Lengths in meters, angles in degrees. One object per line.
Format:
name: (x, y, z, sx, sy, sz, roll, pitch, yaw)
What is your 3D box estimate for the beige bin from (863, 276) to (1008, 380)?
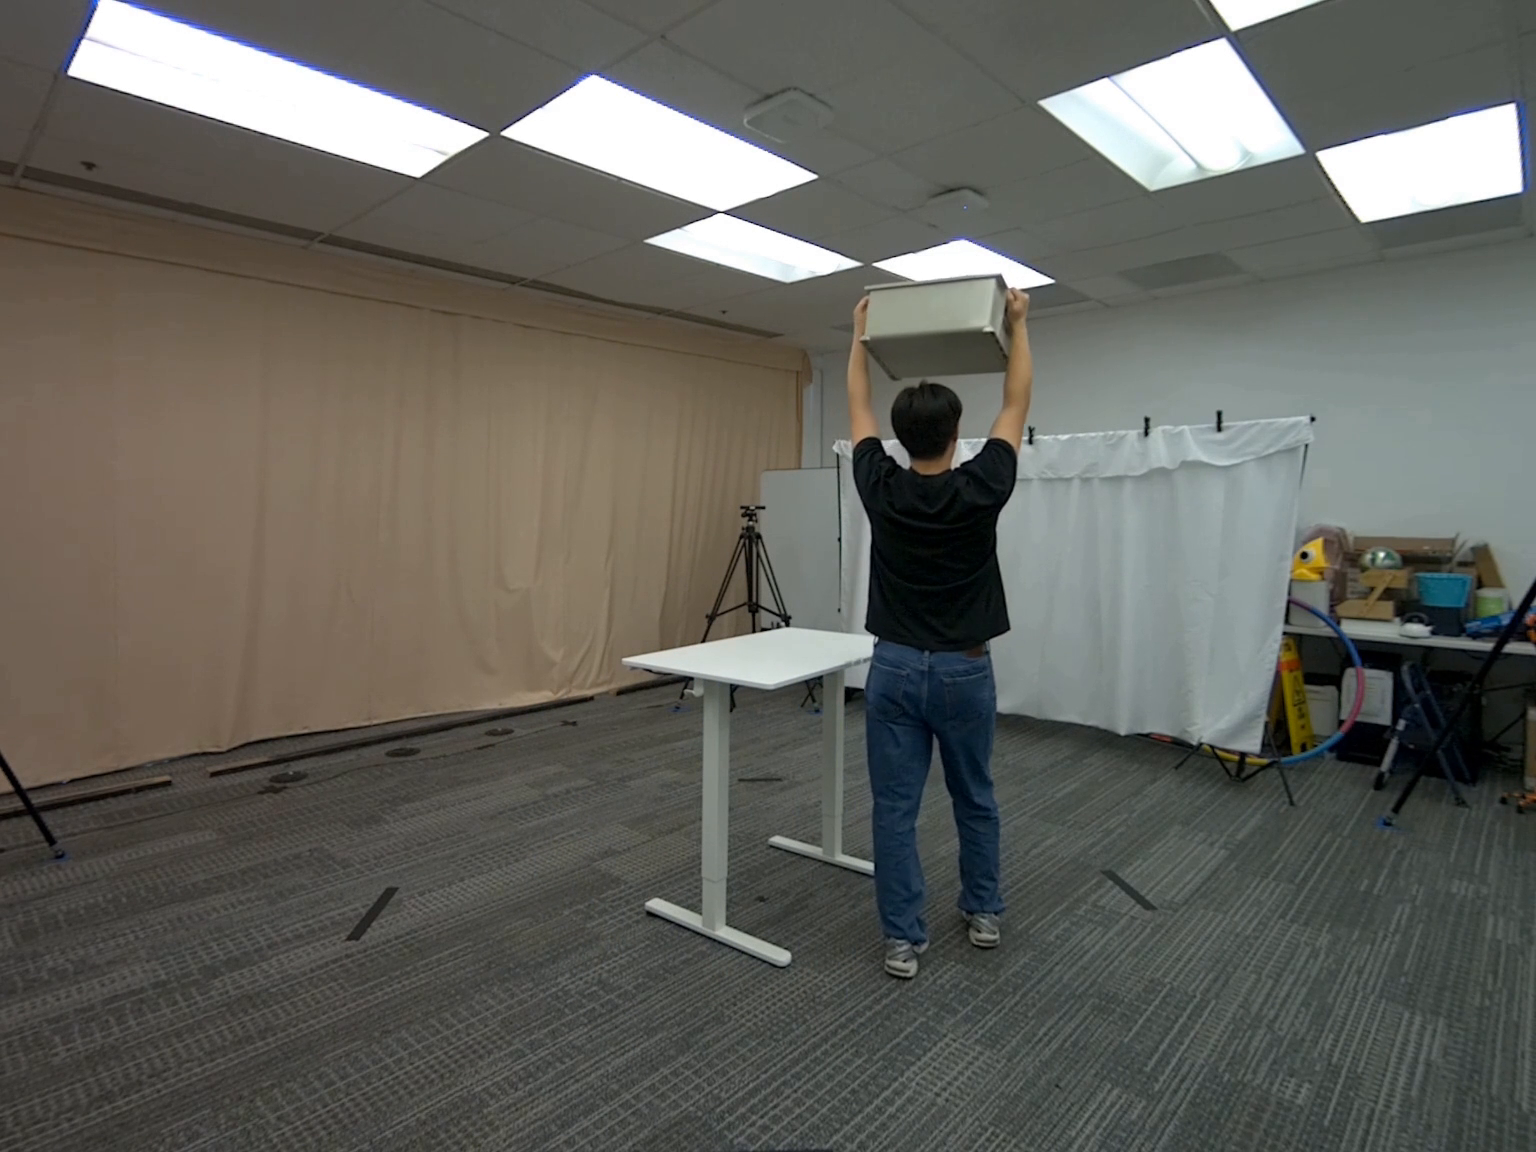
beige bin: (0.561, -0.763, 2.665, 0.435, 0.190, 0.365, 5, -10, 30)
